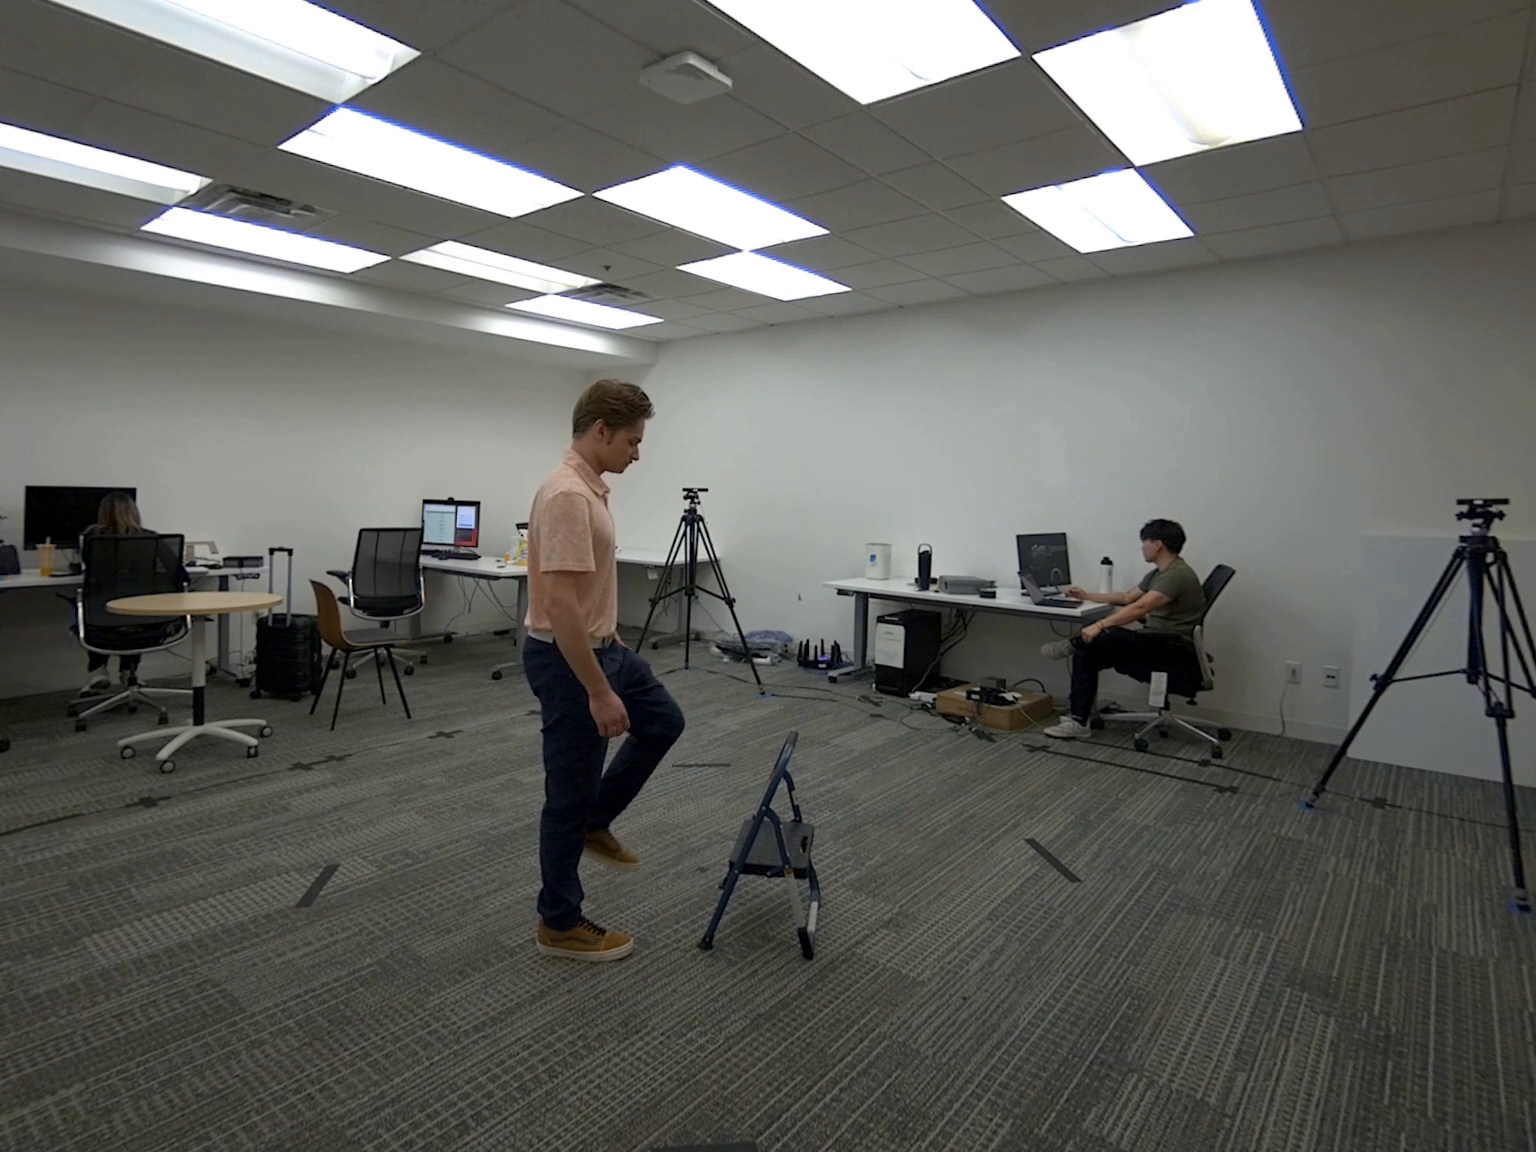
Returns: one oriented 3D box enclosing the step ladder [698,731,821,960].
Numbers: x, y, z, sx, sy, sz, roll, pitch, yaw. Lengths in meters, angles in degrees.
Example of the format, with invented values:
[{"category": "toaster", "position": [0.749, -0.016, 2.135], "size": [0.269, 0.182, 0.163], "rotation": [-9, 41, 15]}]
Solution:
[{"category": "step ladder", "position": [-0.013, 0.808, 2.732], "size": [0.353, 0.604, 0.428], "rotation": [2, 3, 7]}]
